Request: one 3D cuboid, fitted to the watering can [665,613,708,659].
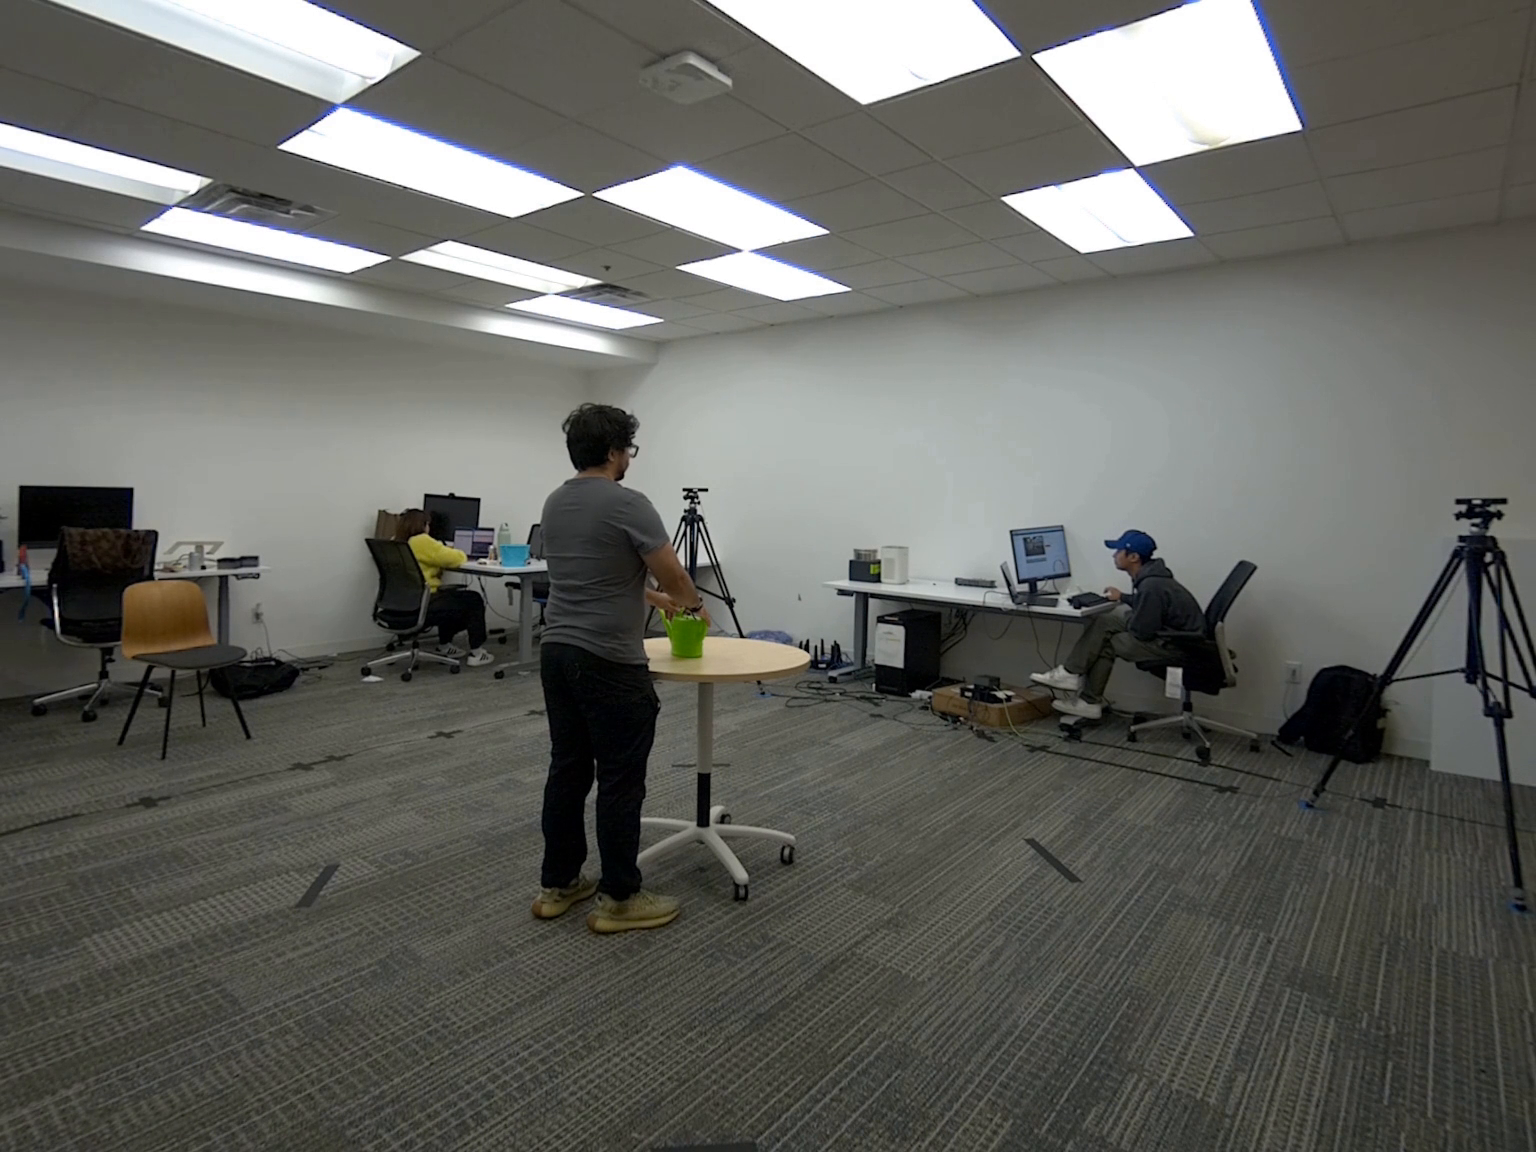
[{"bbox_3d":[-0.332,0.194,3.124,0.095,0.176,0.288,-2,8,-41],"label":"watering can"}]
